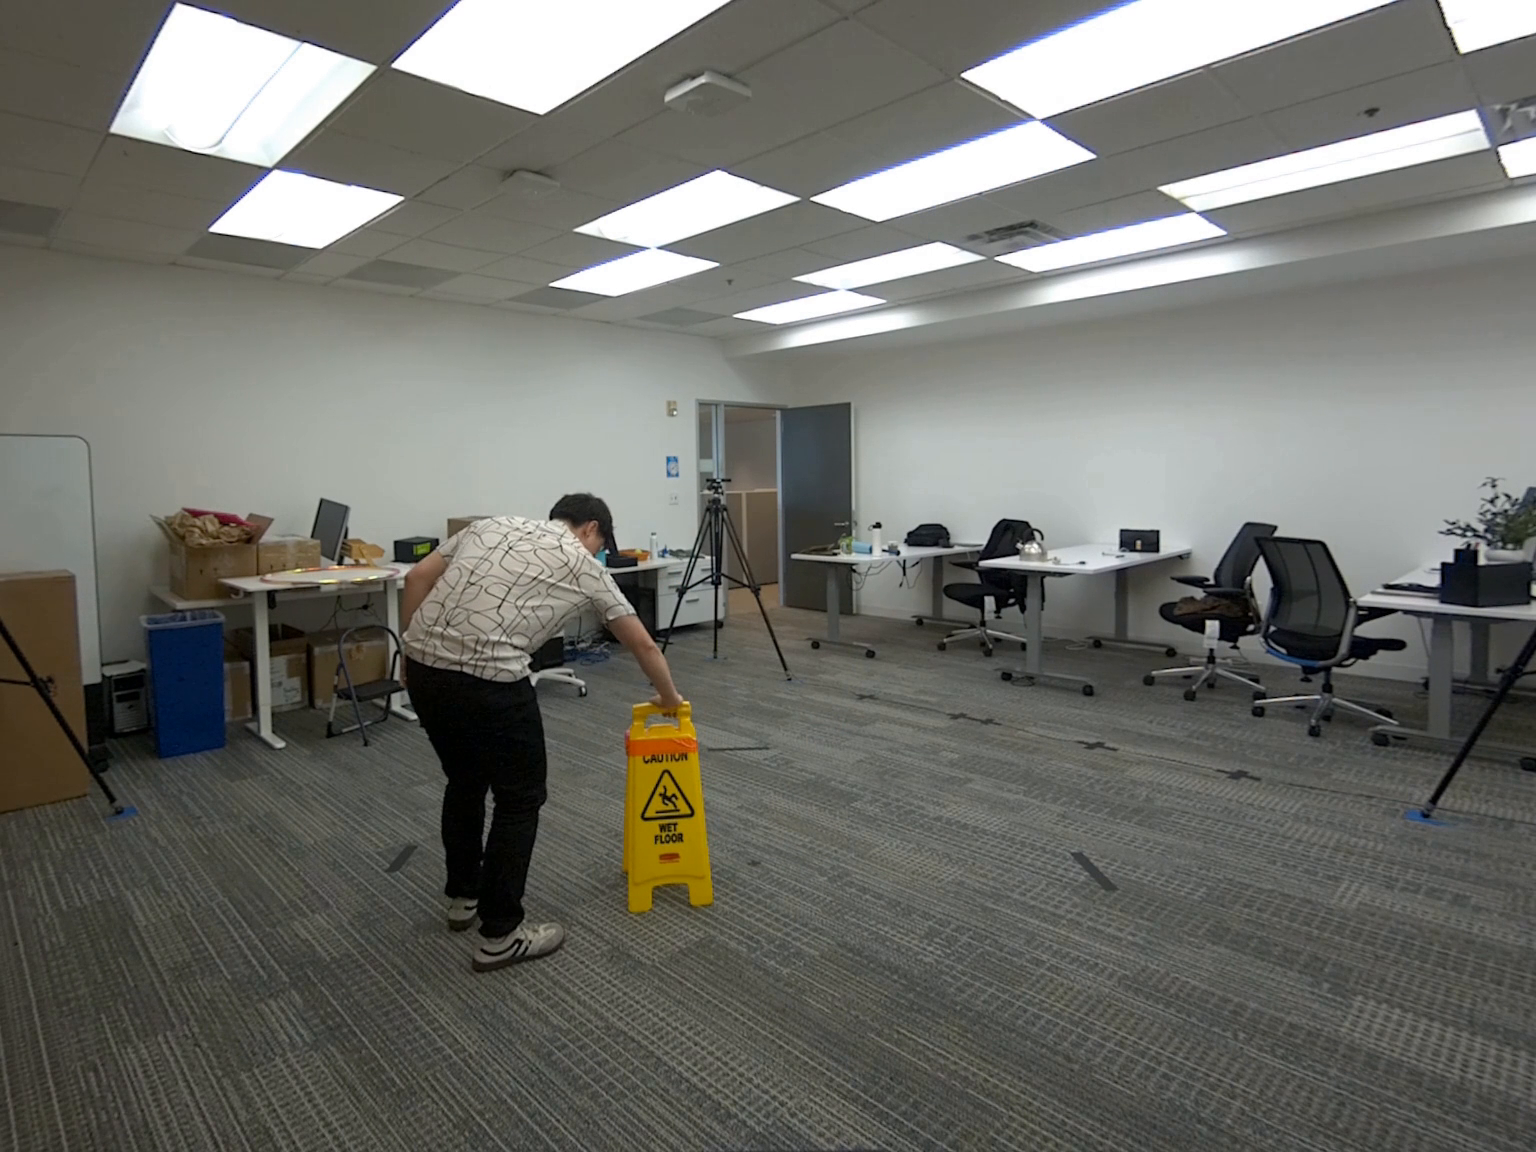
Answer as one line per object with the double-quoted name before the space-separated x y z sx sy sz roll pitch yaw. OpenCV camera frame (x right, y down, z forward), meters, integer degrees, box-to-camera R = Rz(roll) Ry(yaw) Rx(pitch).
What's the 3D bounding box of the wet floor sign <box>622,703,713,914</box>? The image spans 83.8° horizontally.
"wet floor sign" -0.355 0.744 2.910 0.279 0.643 0.294 -3 5 -11
